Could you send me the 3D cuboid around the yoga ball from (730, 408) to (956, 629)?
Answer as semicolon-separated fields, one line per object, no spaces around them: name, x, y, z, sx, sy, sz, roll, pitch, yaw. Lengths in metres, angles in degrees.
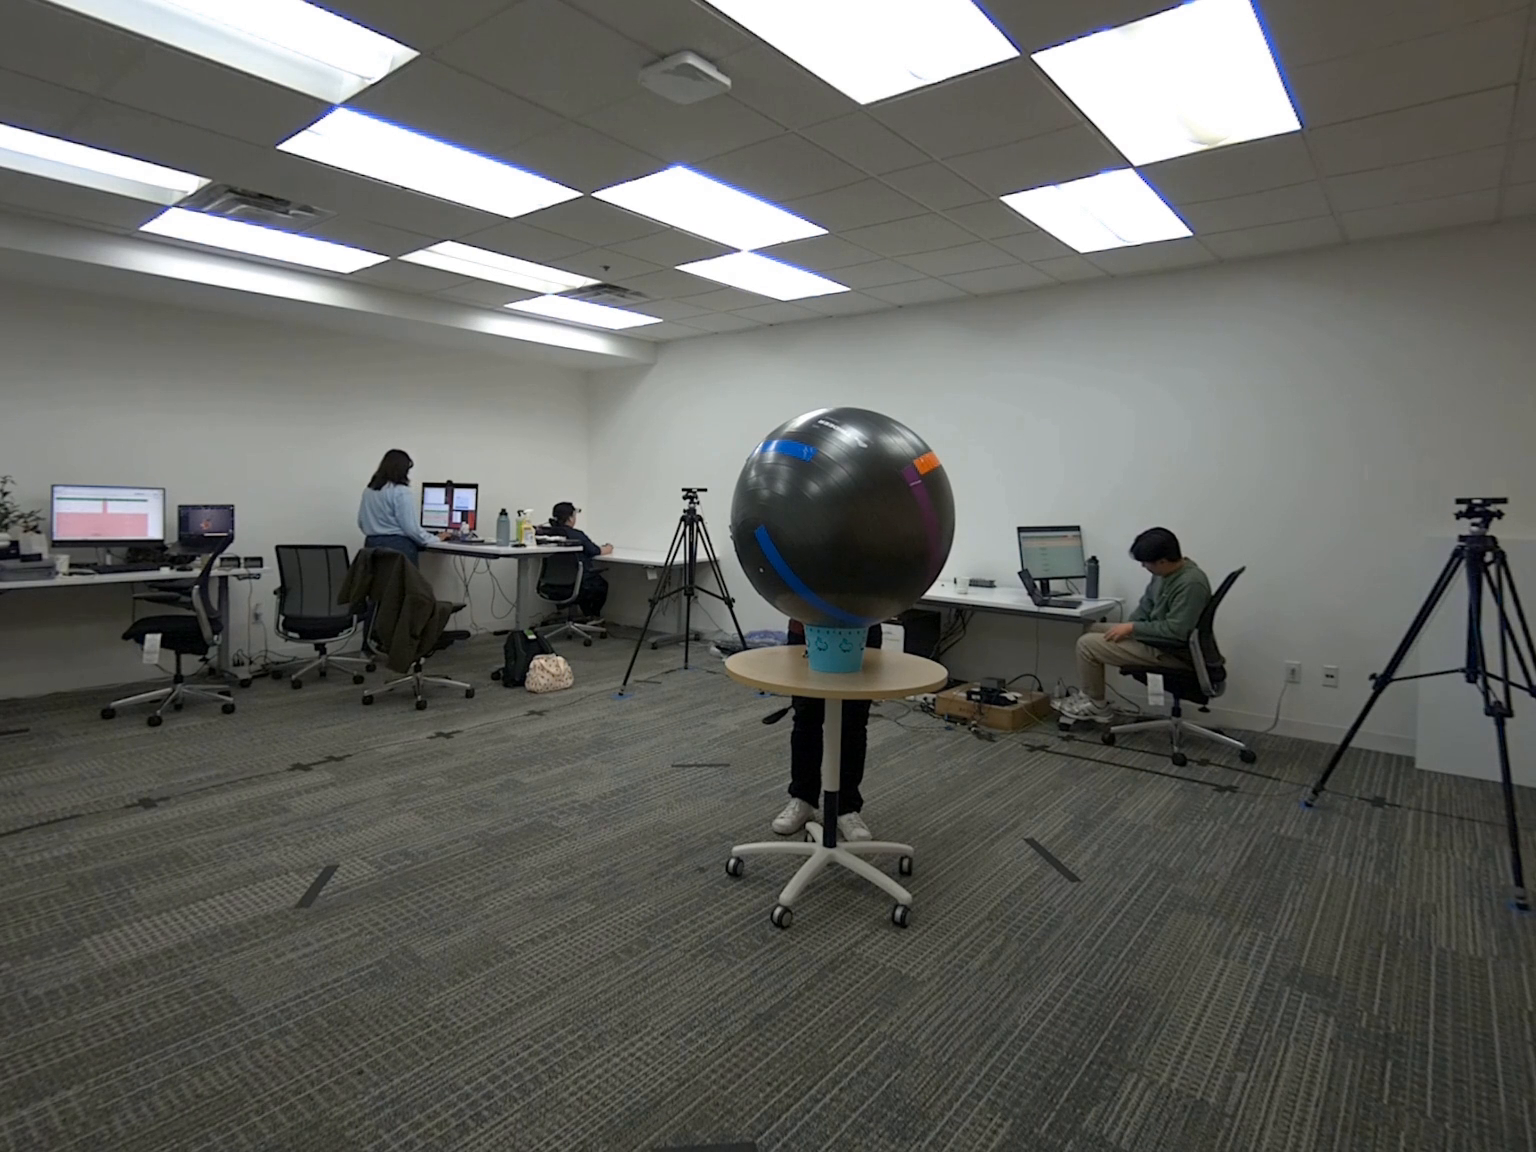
yoga ball;0.245;-0.194;2.912;0.757;0.756;0.761;1;4;-2
